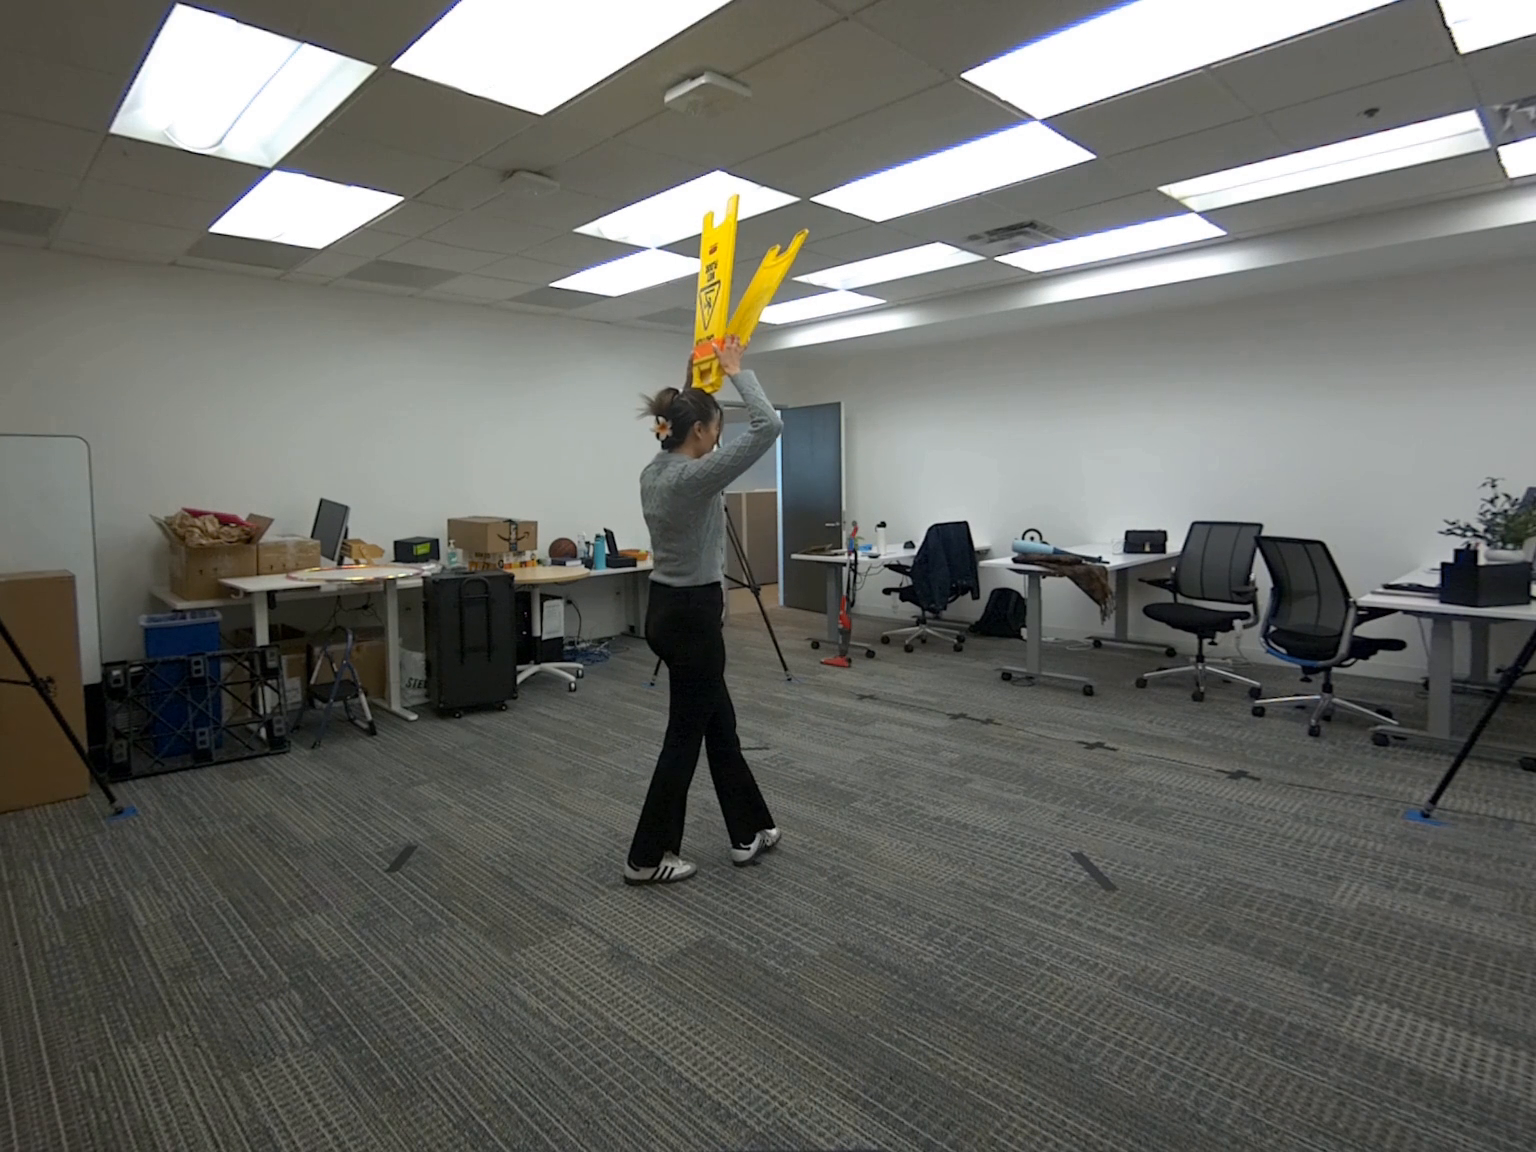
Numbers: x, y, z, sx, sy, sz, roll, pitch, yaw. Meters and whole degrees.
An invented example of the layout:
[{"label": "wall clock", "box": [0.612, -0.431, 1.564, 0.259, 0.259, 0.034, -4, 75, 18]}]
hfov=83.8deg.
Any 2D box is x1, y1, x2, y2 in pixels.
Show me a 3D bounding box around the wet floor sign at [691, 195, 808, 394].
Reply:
[{"label": "wet floor sign", "box": [-0.131, -0.943, 2.995, 0.282, 0.648, 0.289, 20, -6, -26]}]
